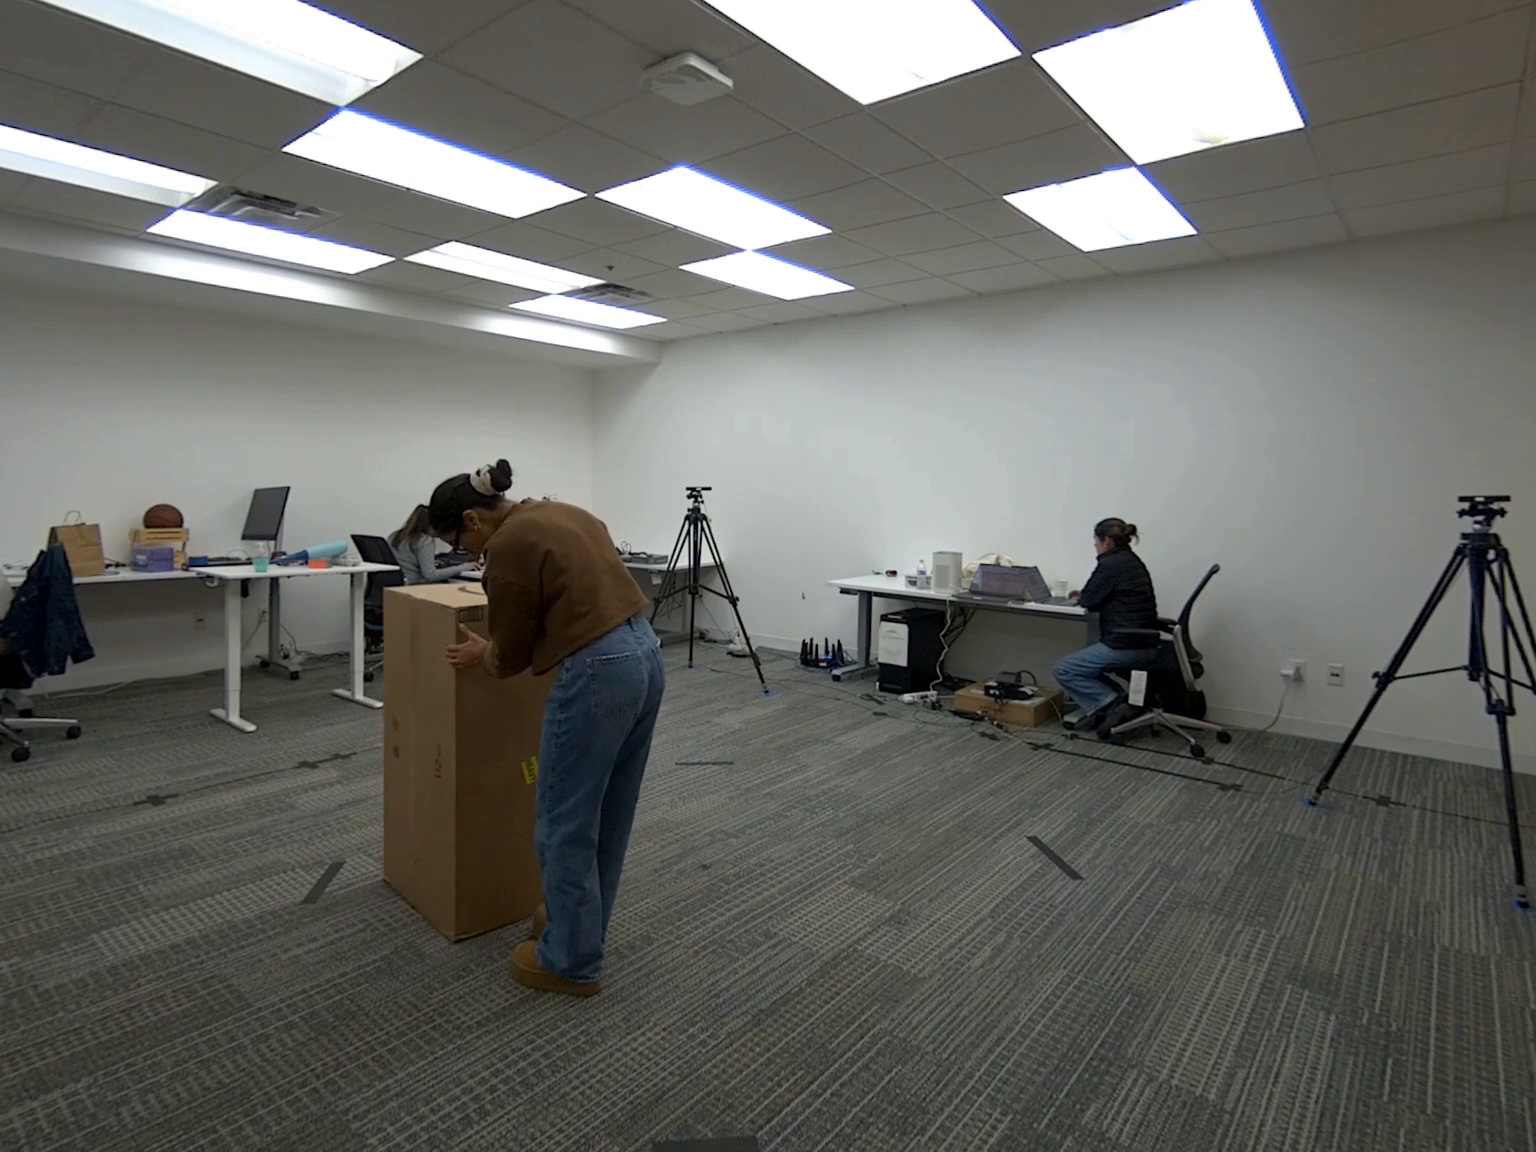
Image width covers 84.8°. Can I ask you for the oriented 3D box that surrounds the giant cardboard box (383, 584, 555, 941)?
[{"bbox_3d":[-1.006,0.567,2.900,0.413,1.023,0.597,-2,4,-44],"label":"giant cardboard box"}]
